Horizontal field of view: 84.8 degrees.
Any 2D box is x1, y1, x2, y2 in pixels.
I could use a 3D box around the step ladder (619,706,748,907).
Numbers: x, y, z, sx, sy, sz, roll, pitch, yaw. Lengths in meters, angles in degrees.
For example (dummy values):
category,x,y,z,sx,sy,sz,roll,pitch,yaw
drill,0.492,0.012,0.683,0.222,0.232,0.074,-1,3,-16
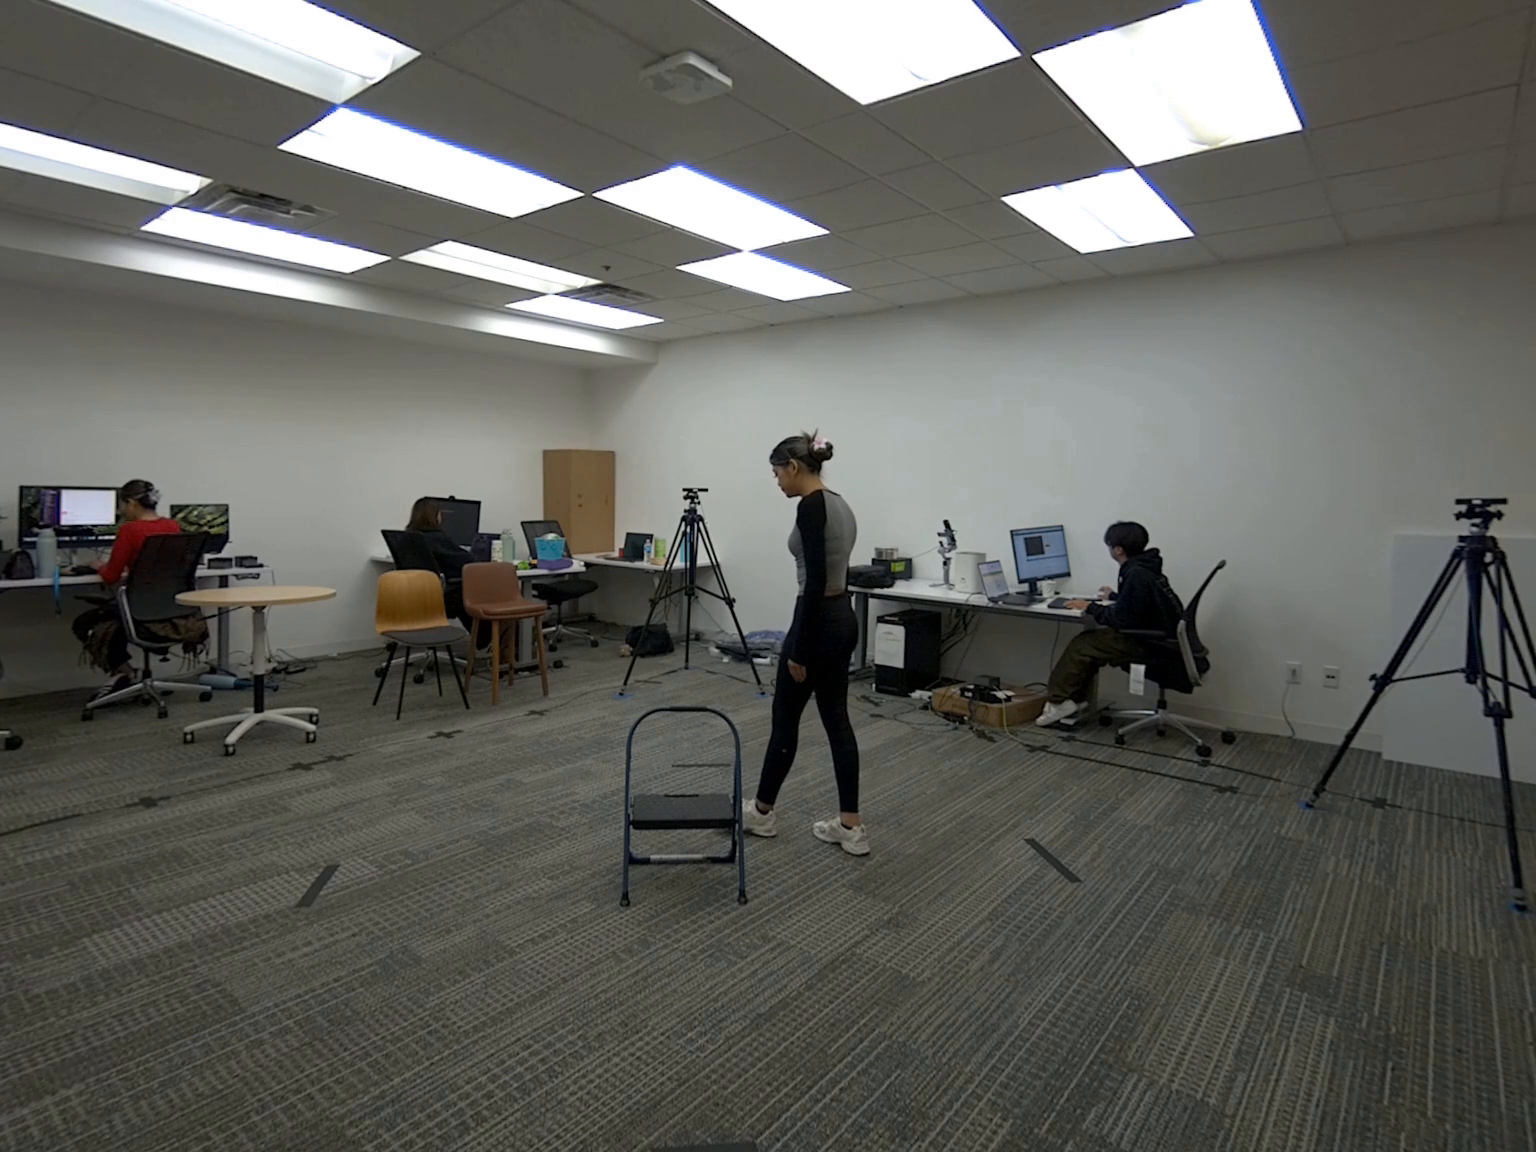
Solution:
category,x,y,z,sx,sy,sz,roll,pitch,yaw
step ladder,-0.306,0.778,2.996,0.428,0.604,0.353,1,3,-6
